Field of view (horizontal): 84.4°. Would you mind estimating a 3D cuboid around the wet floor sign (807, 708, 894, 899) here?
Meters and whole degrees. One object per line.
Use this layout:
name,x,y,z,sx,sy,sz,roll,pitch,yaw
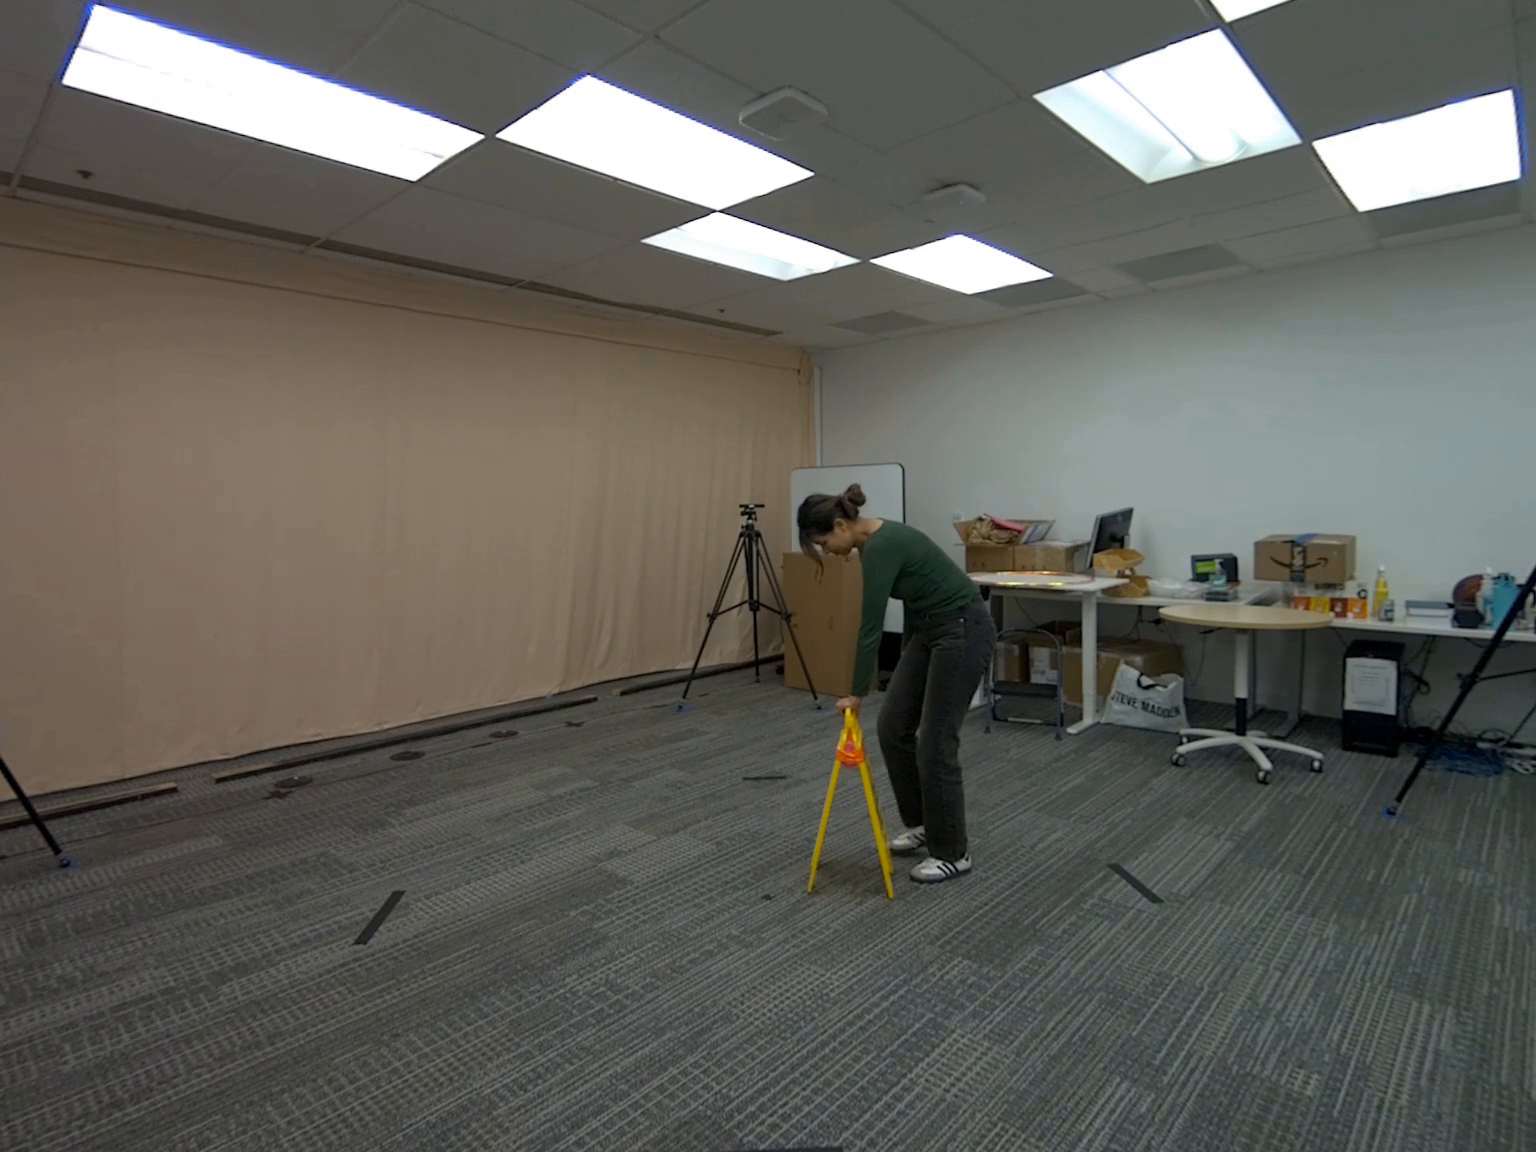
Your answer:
wet floor sign,0.304,0.804,3.095,0.293,0.645,0.279,-1,1,9
